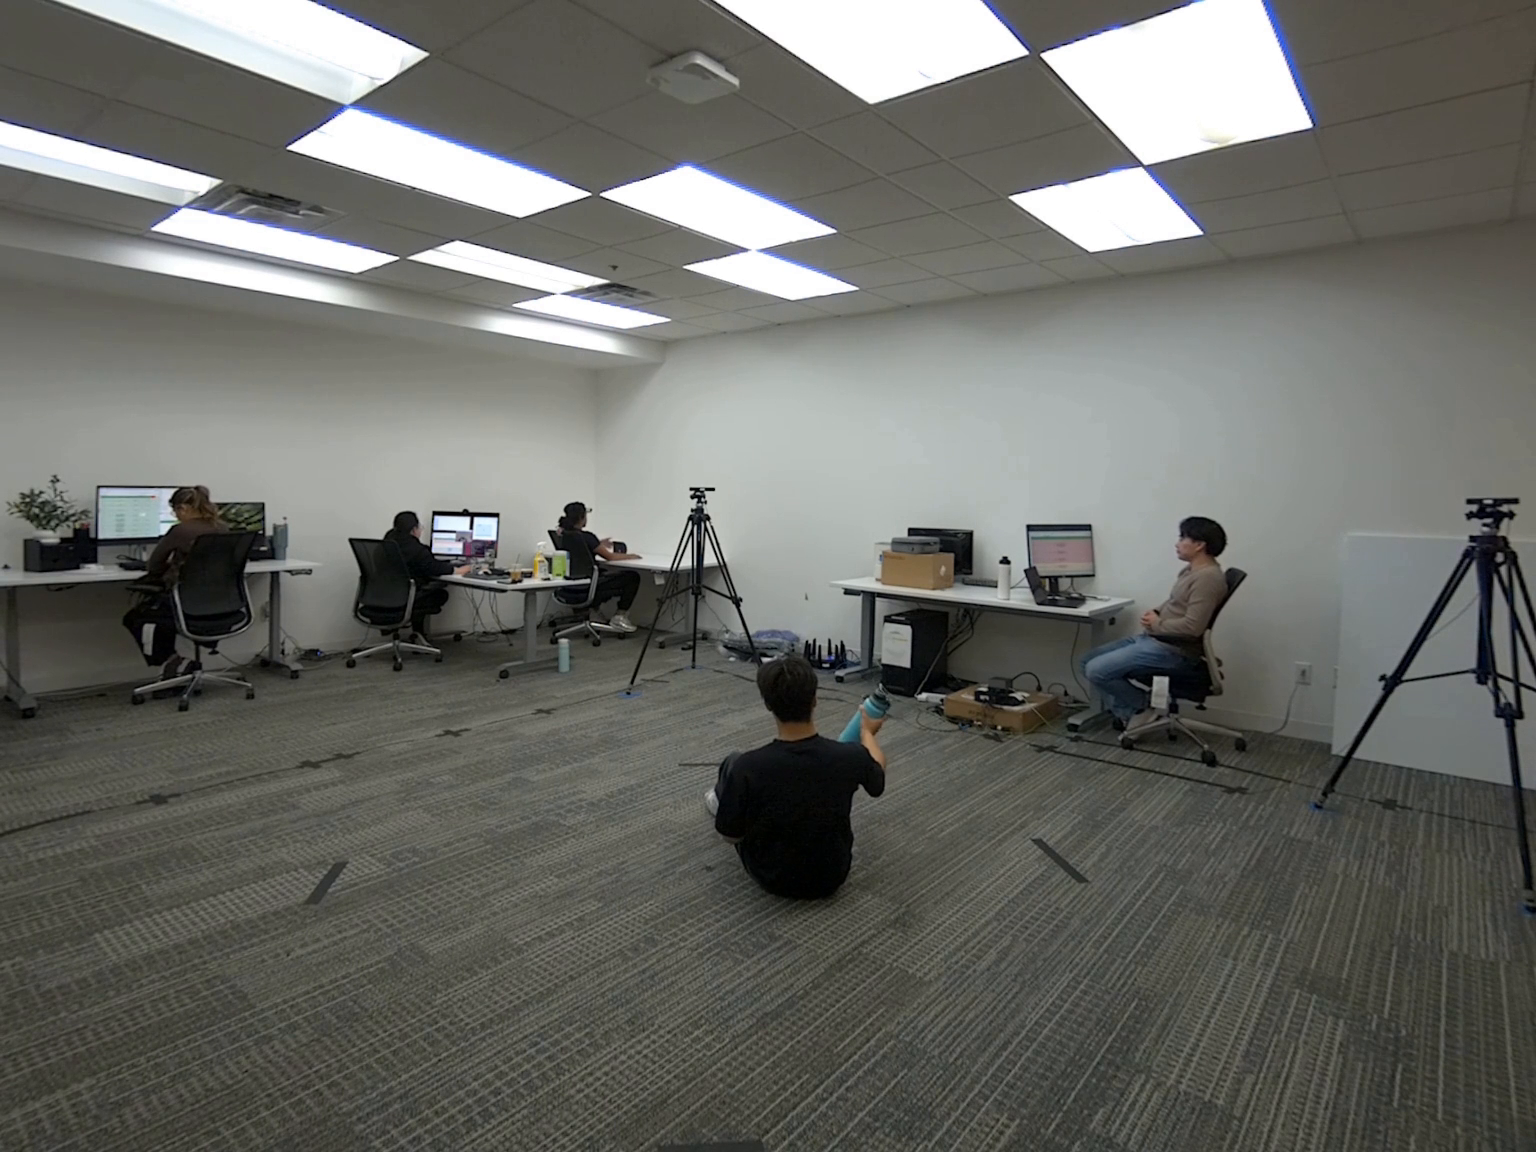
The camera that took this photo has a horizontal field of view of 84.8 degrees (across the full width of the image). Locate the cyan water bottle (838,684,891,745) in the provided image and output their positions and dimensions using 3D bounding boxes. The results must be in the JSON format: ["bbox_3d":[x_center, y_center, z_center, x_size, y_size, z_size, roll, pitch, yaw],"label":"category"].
[{"bbox_3d":[0.386,0.580,3.441,0.091,0.282,0.094,29,16,-11],"label":"cyan water bottle"}]
